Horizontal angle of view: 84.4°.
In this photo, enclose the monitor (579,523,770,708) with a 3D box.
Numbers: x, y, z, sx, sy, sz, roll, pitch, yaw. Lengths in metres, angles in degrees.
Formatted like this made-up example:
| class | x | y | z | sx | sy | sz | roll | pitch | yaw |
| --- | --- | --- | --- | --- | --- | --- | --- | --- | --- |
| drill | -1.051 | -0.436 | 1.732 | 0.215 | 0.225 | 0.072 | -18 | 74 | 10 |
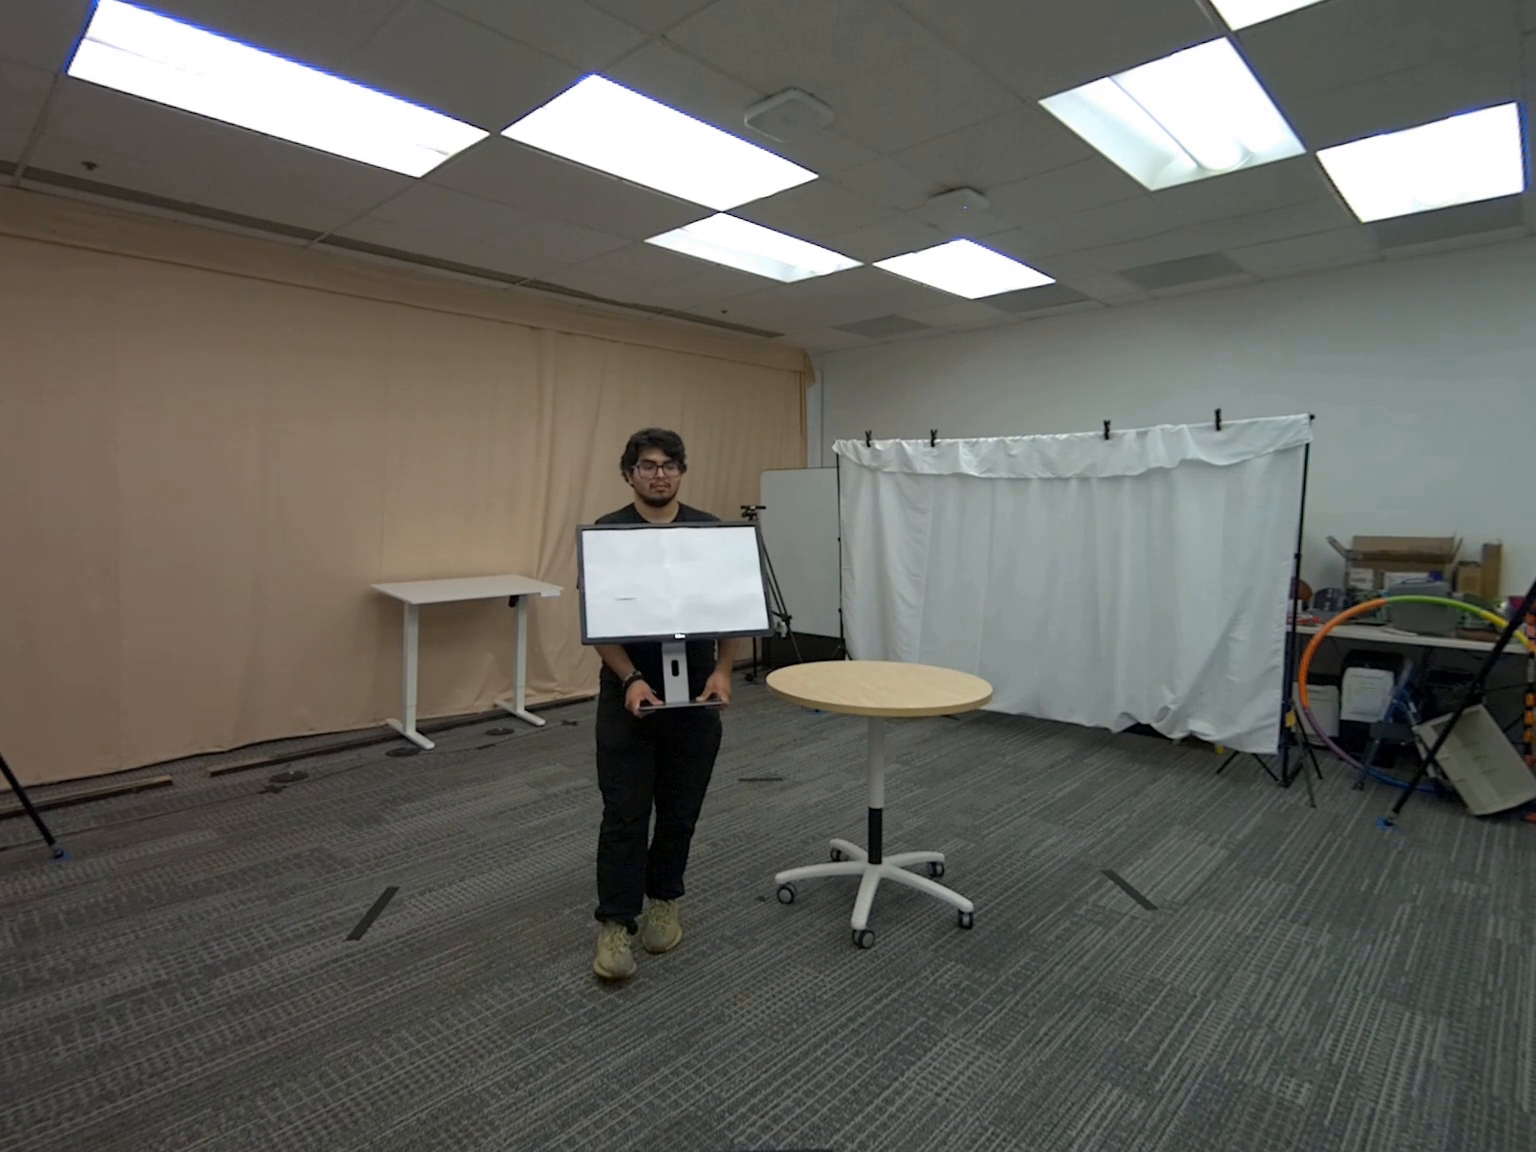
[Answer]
| class | x | y | z | sx | sy | sz | roll | pitch | yaw |
| --- | --- | --- | --- | --- | --- | --- | --- | --- | --- |
| monitor | -0.277 | 0.119 | 2.511 | 0.558 | 0.560 | 0.210 | -2 | -16 | -12 |
